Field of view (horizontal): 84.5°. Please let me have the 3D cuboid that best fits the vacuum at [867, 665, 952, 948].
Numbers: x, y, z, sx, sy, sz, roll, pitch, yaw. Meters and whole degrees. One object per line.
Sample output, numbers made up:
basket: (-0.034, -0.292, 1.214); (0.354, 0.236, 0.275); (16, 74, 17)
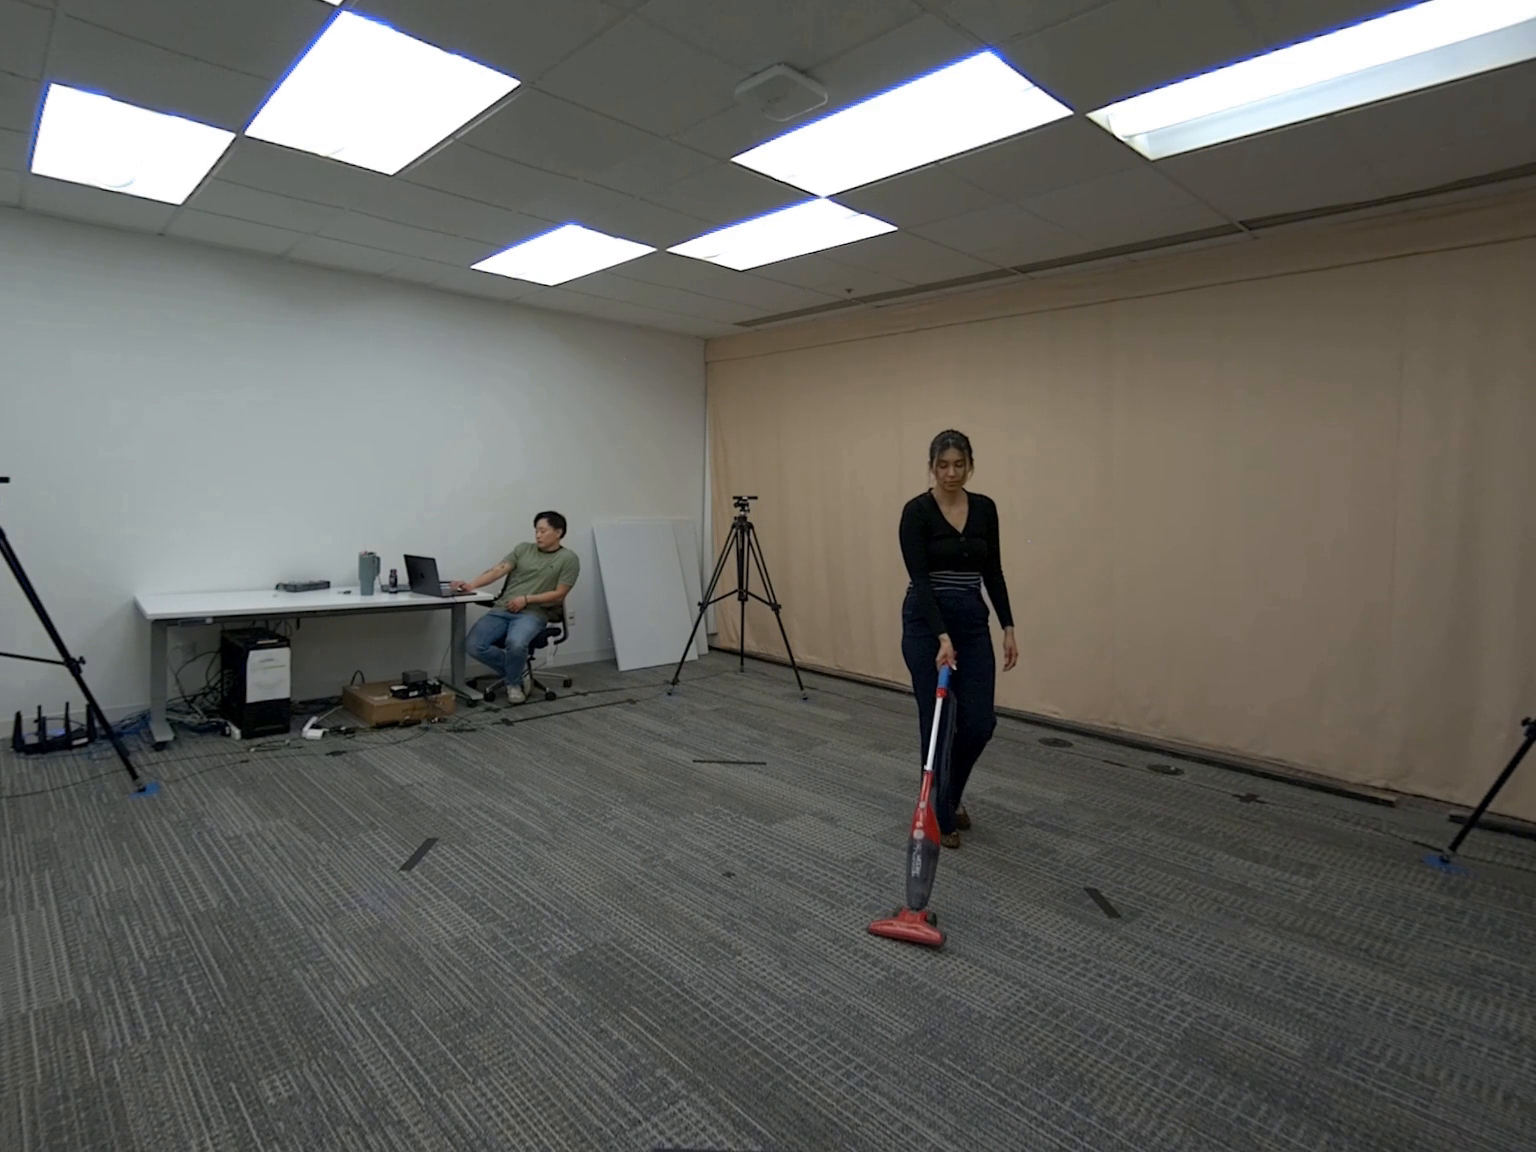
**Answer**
vacuum: (0.580, 0.727, 2.997); (0.257, 1.062, 0.139); (-1, -39, 25)
